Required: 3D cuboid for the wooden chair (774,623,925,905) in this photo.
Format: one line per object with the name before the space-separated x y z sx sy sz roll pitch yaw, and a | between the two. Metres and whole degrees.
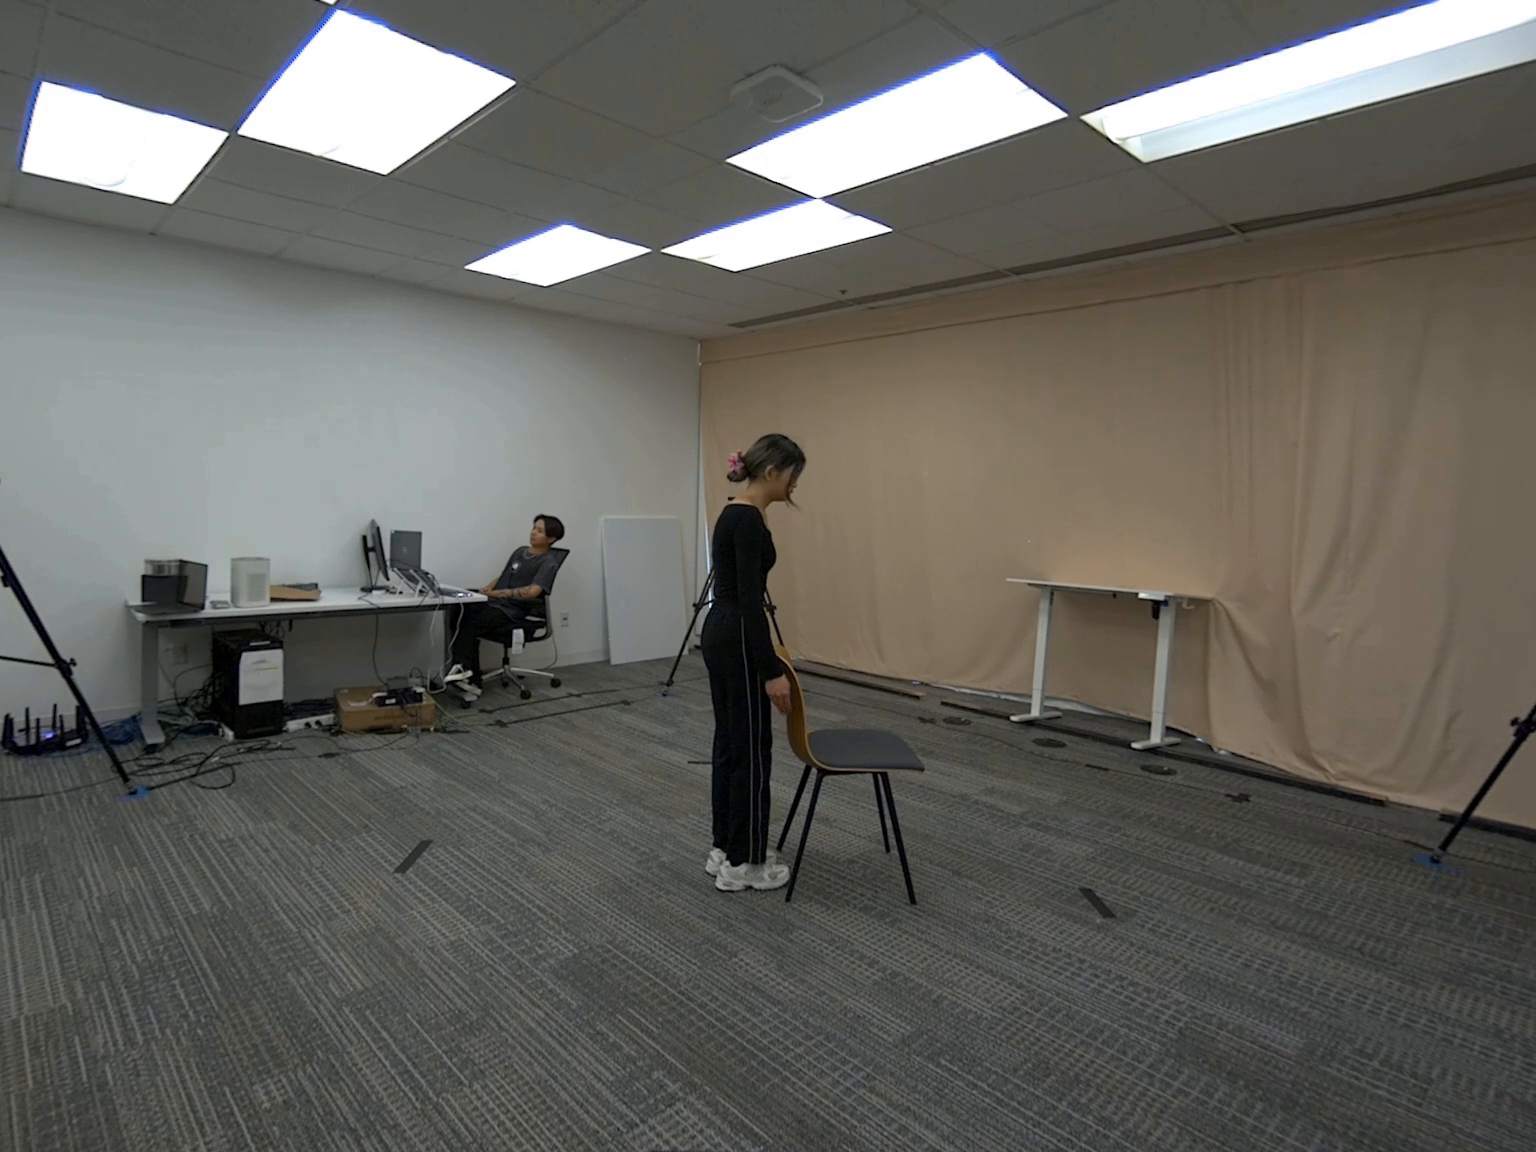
wooden chair | 0.287 0.687 3.111 0.522 0.876 0.480 -3 2 -2
